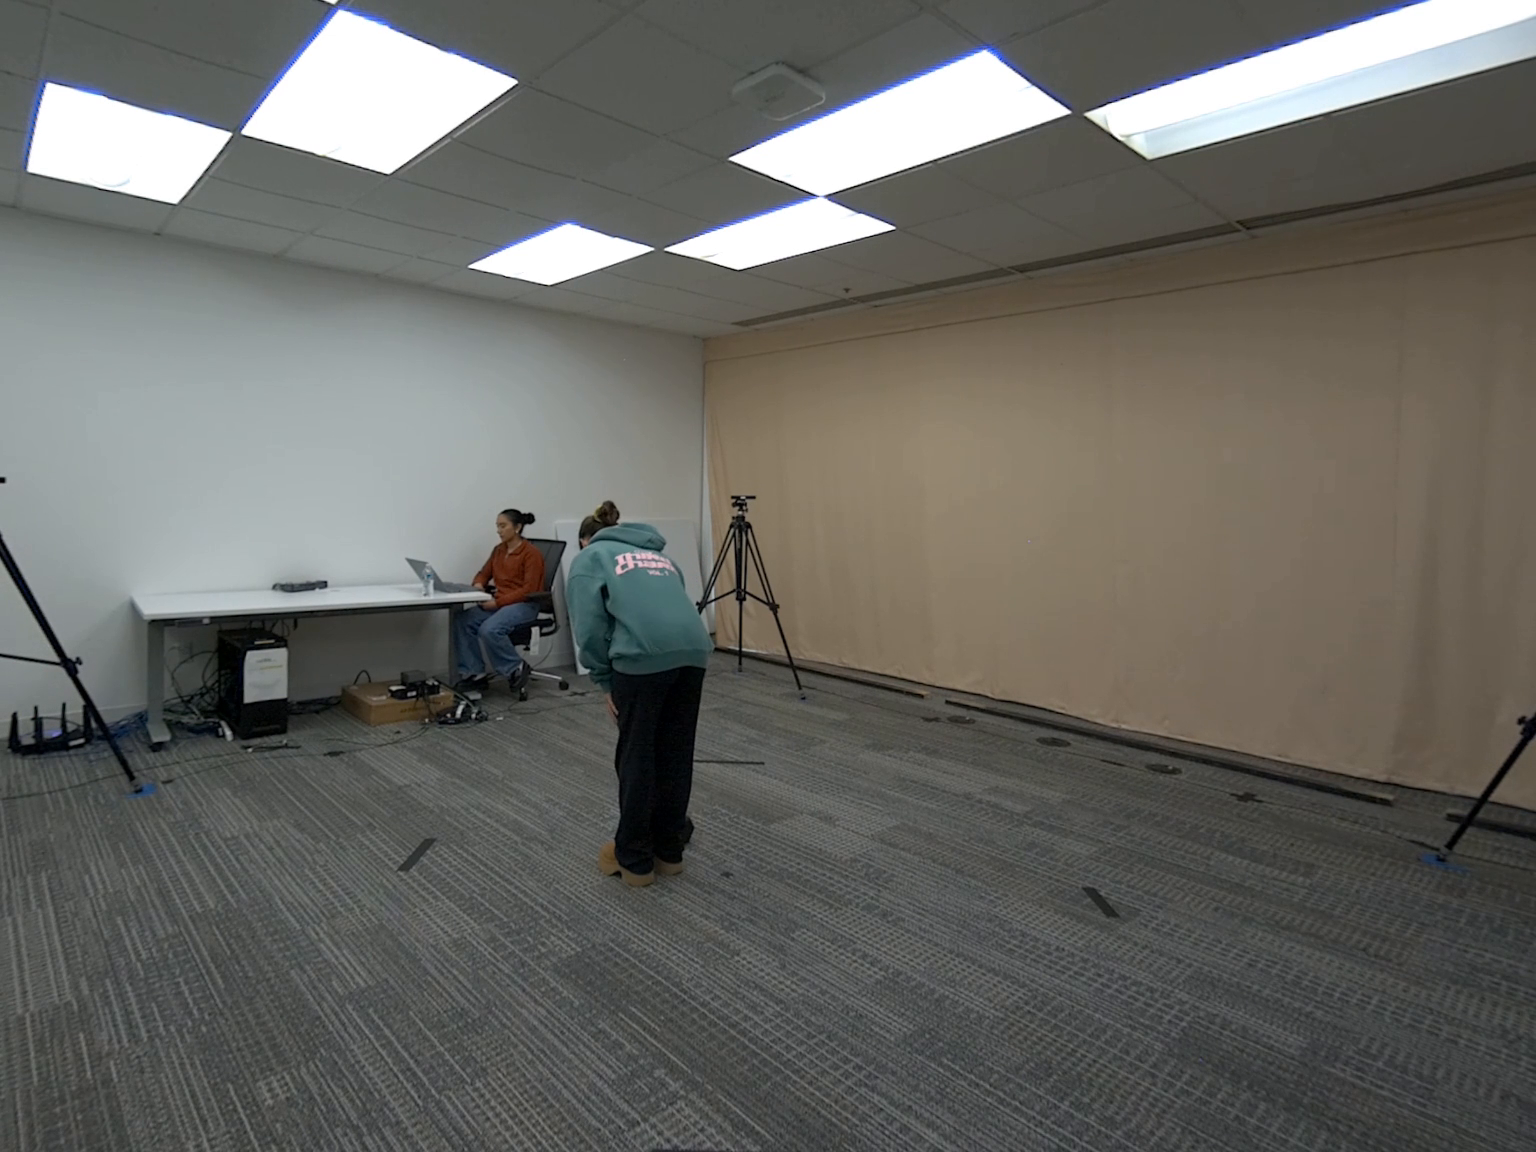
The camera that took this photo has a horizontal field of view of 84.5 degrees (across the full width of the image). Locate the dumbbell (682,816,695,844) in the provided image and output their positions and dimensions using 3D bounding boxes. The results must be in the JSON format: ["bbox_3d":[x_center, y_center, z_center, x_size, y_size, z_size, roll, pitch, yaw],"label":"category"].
[{"bbox_3d":[-0.438,1.013,3.464,0.301,0.123,0.105,7,-24,46],"label":"dumbbell"}]
